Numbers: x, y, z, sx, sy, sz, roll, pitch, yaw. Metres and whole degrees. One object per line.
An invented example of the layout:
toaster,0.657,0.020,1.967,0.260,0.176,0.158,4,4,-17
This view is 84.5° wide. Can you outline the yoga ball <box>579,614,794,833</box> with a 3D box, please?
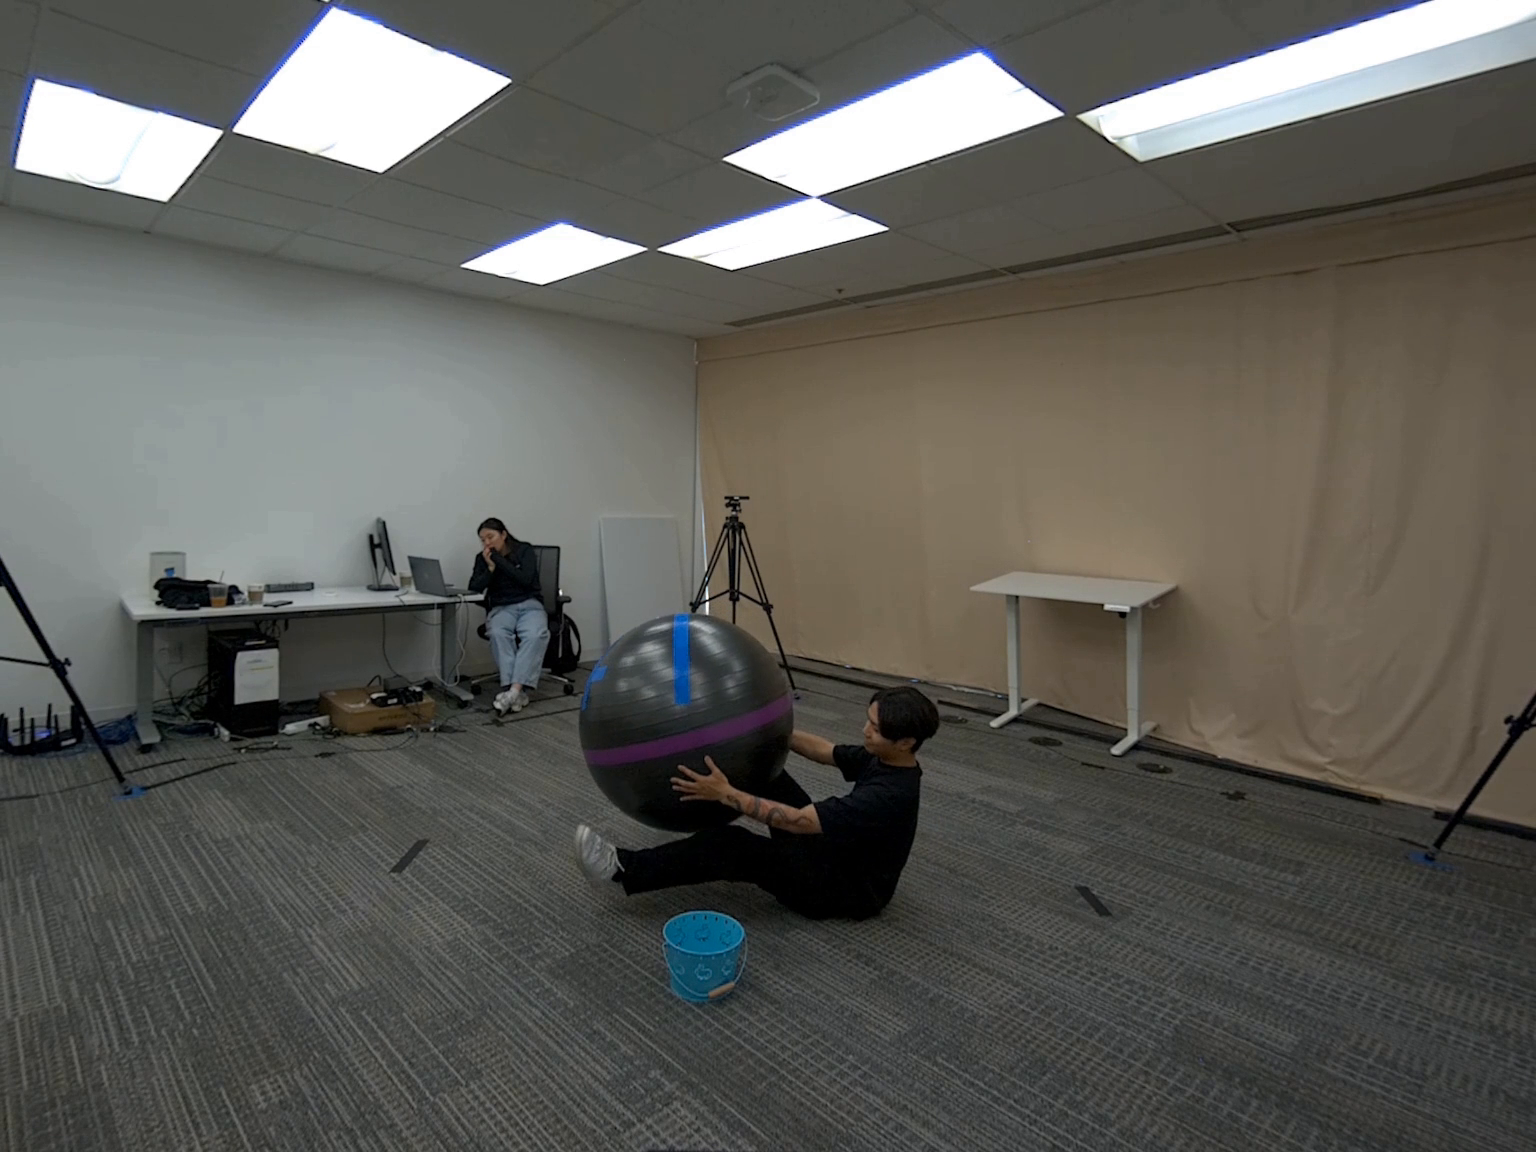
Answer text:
yoga ball,-0.298,0.521,3.015,0.757,0.756,0.761,1,4,-1
